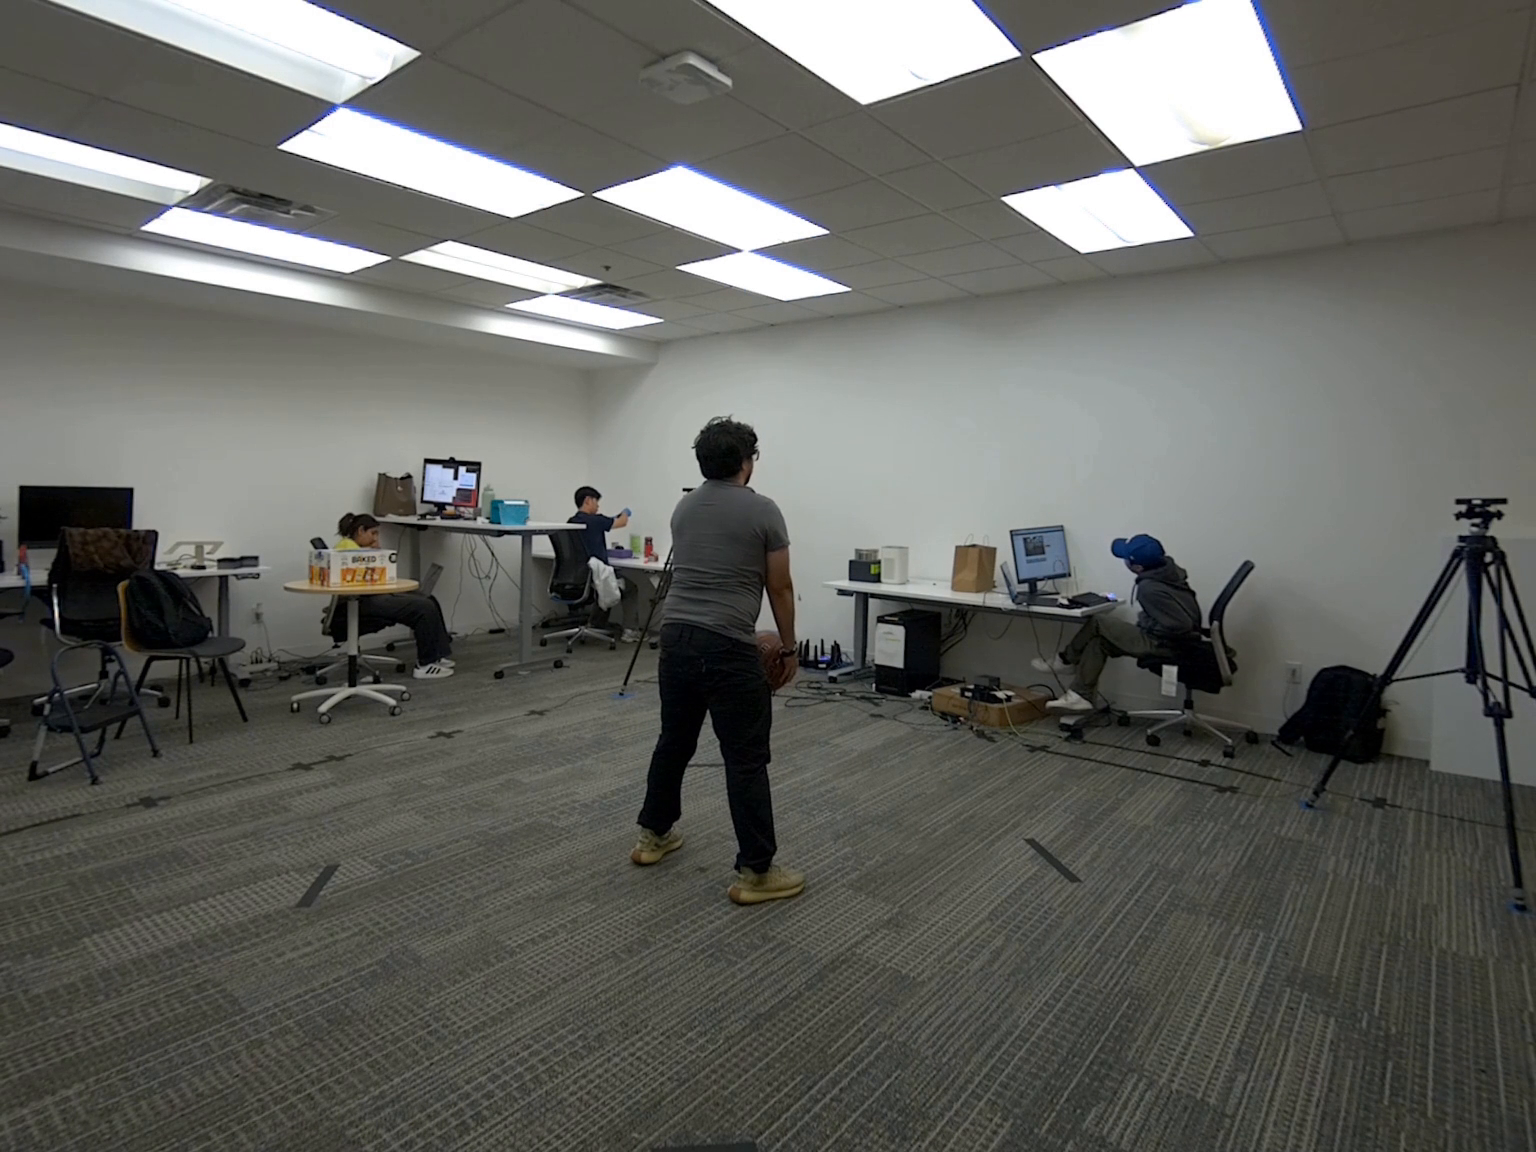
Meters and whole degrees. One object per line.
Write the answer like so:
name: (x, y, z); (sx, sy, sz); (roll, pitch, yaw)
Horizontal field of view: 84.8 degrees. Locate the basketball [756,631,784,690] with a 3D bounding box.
basketball: (-0.027, 0.325, 3.271); (0.235, 0.235, 0.237); (1, 4, -2)
